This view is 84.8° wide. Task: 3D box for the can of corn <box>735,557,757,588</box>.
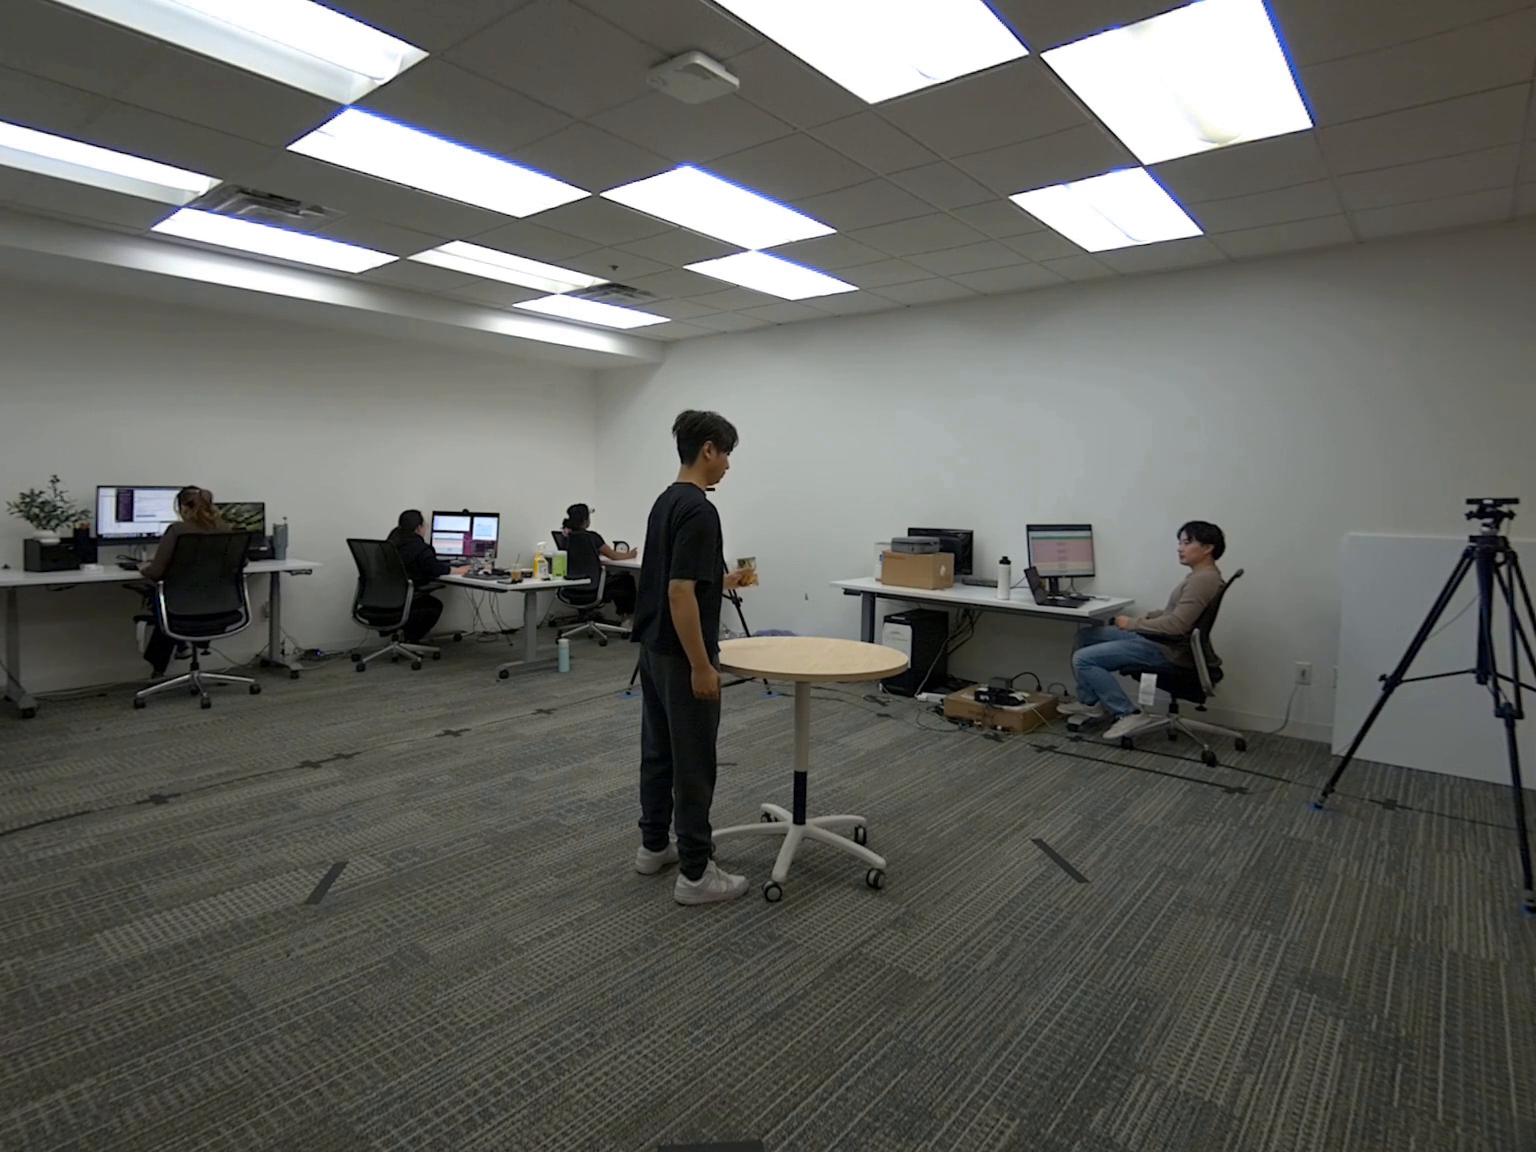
[{"bbox_3d":[-0.091,-0.017,3.374,0.074,0.111,0.074,-4,0,-2],"label":"can of corn"}]
